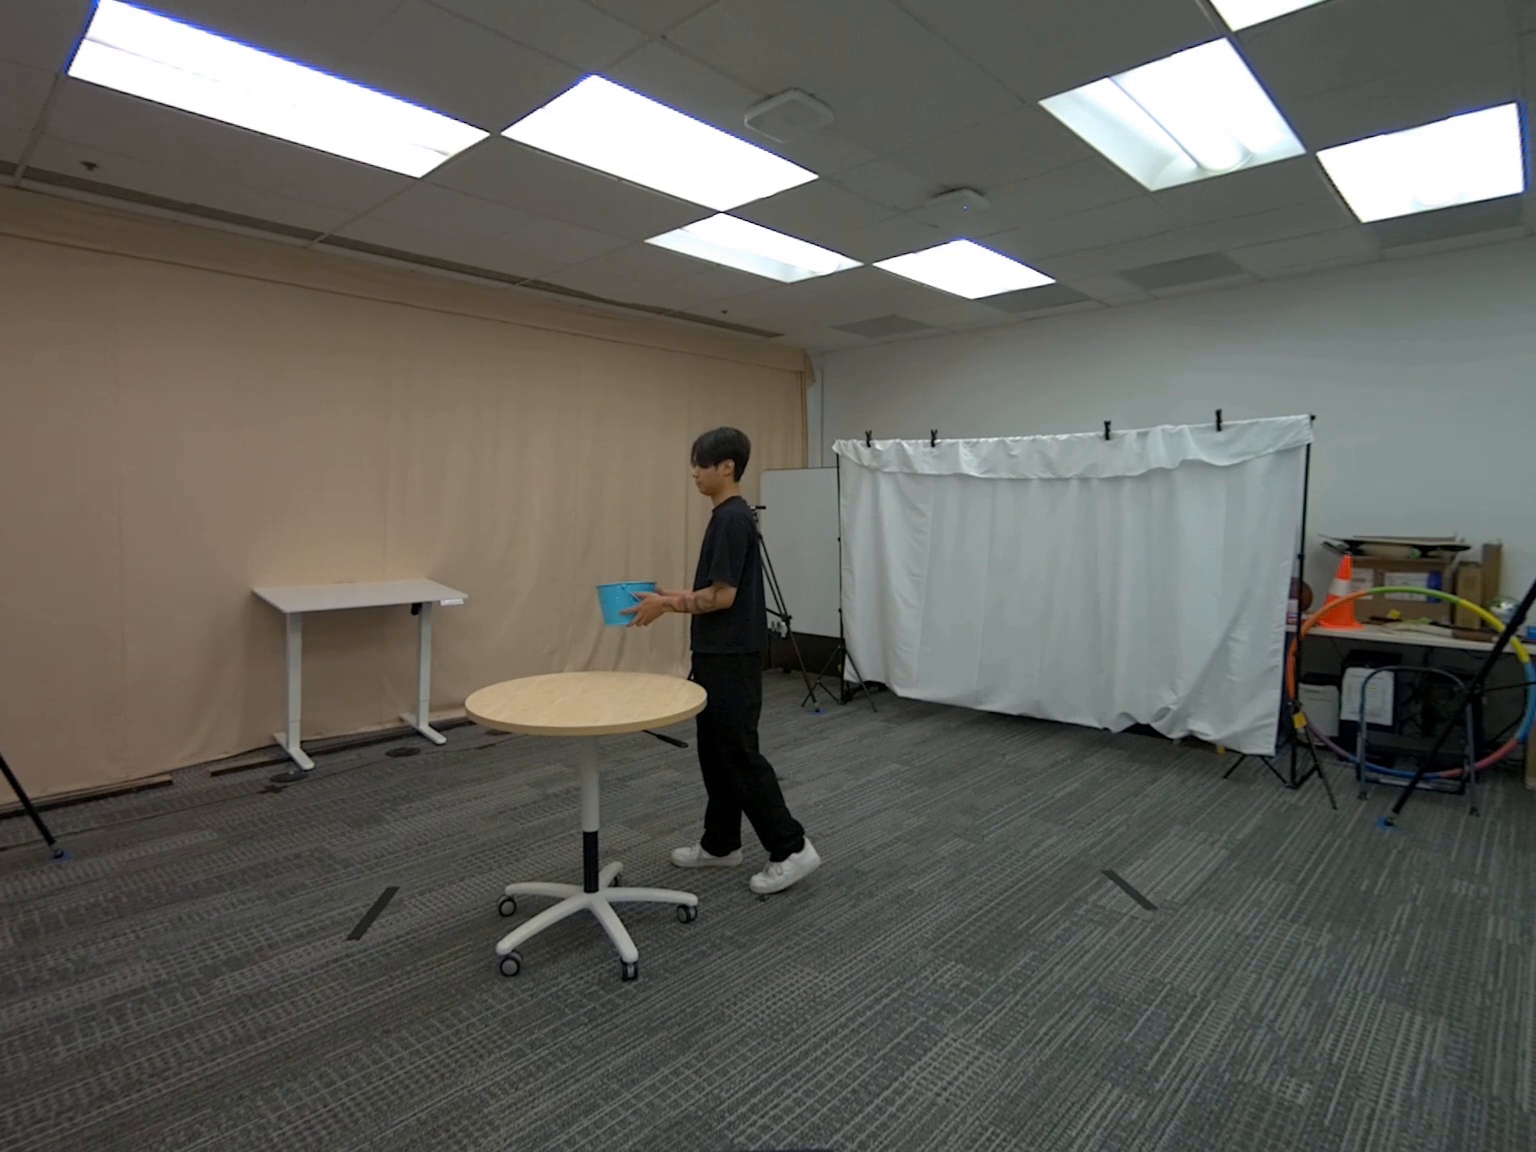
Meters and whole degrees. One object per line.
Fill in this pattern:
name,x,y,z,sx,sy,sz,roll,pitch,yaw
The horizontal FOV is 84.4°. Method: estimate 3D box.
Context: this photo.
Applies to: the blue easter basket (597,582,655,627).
blue easter basket,-0.519,0.109,3.187,0.243,0.156,0.243,-3,-4,-2
